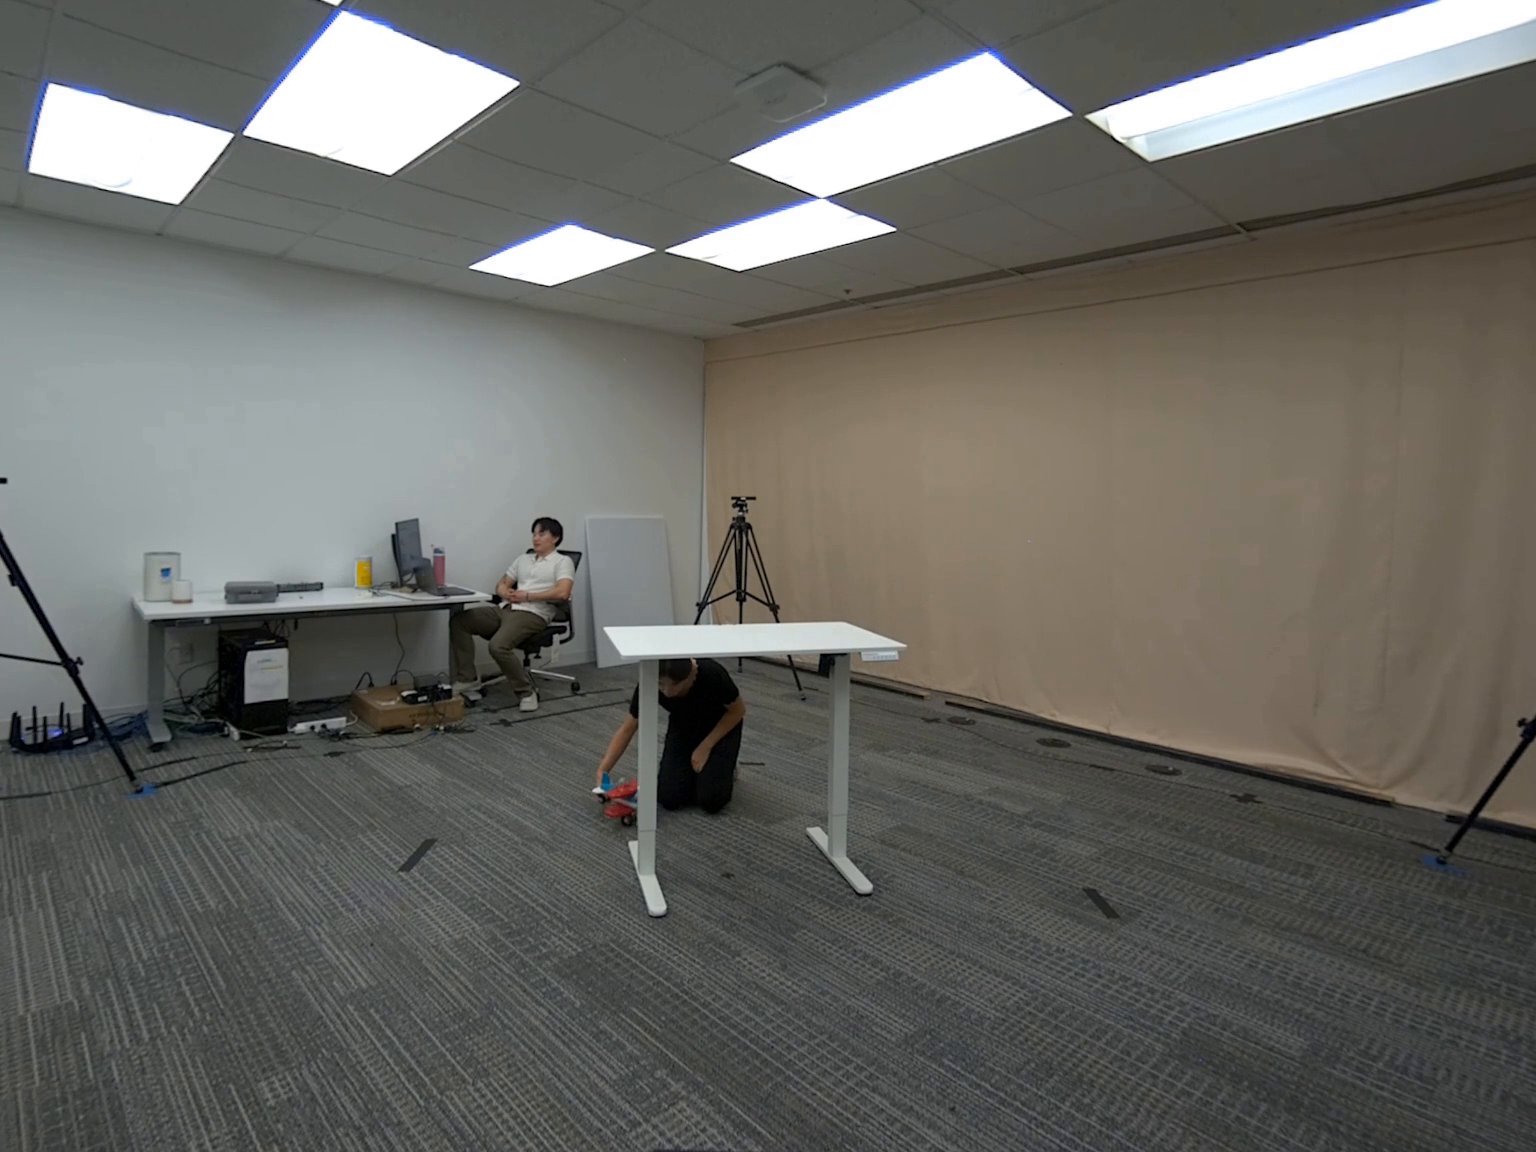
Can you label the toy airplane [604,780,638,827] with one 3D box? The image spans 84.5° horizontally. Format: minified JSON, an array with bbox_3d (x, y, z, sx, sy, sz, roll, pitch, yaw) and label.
[{"bbox_3d":[-0.647,0.958,3.609,0.260,0.155,0.252,17,14,3],"label":"toy airplane"}]
